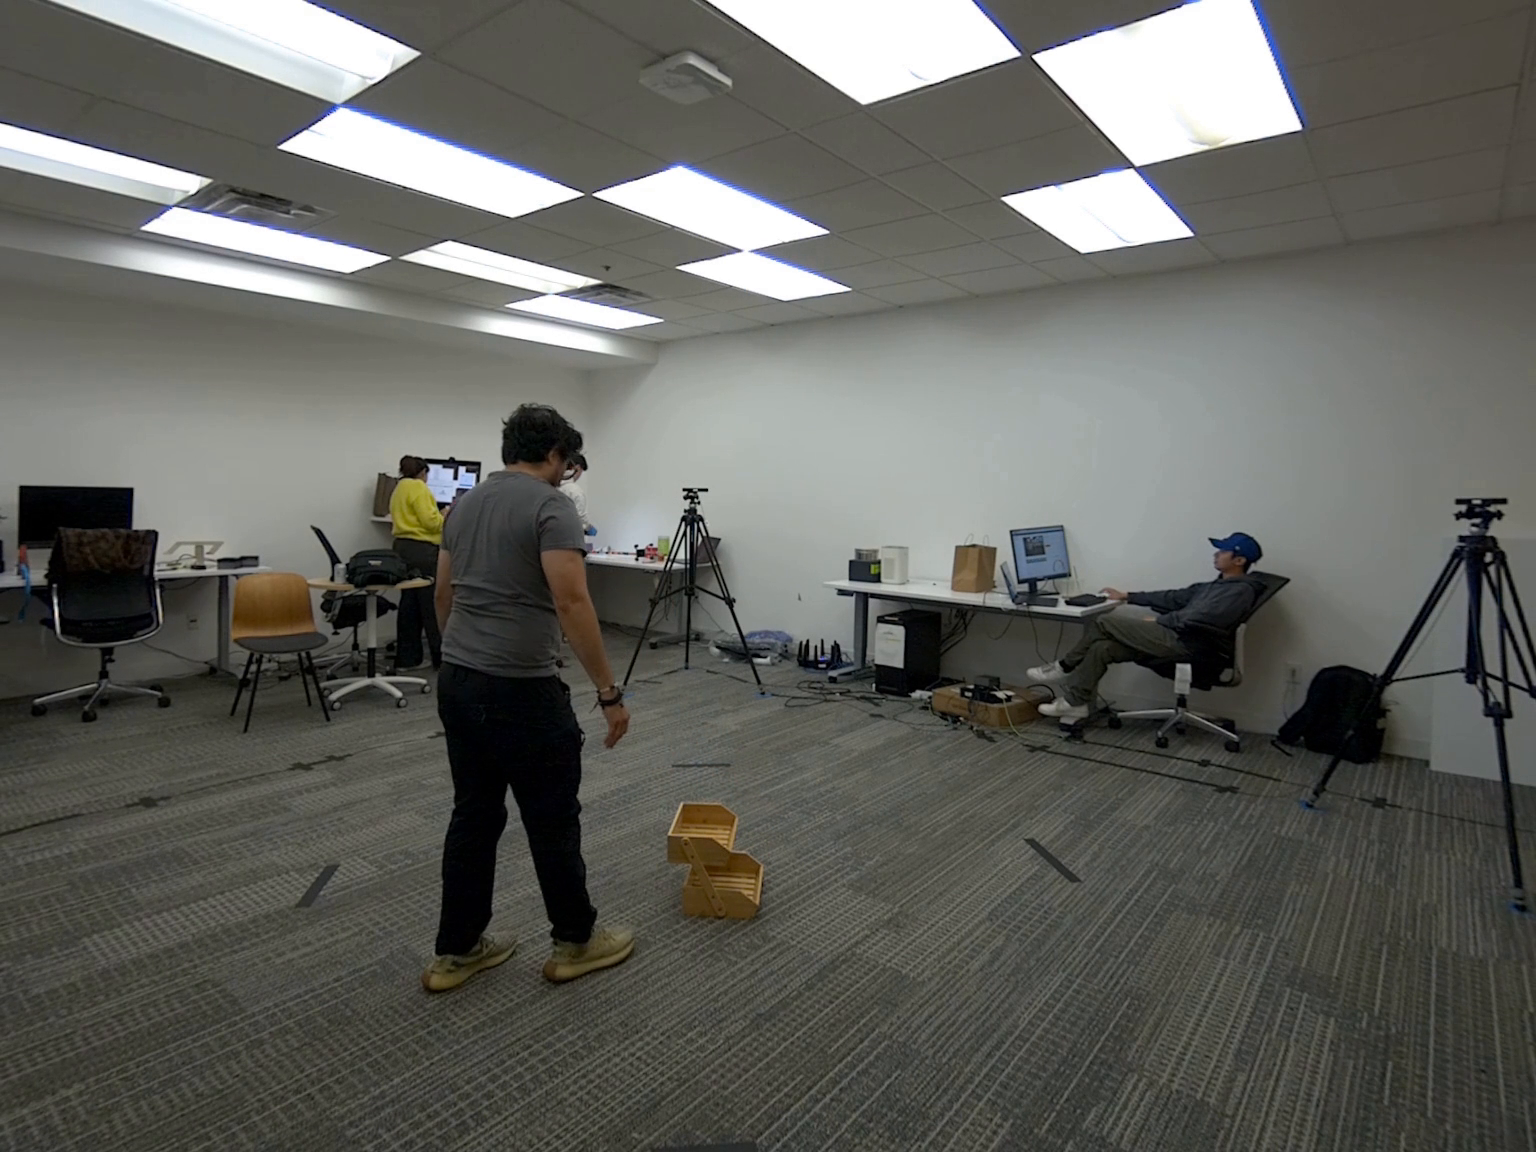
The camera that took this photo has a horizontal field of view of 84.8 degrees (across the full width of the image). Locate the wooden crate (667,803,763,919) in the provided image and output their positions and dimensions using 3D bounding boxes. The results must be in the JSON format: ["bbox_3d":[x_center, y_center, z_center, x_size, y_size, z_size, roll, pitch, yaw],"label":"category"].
[{"bbox_3d":[-0.175,0.955,2.905,0.303,0.272,0.324,0,4,4],"label":"wooden crate"}]
